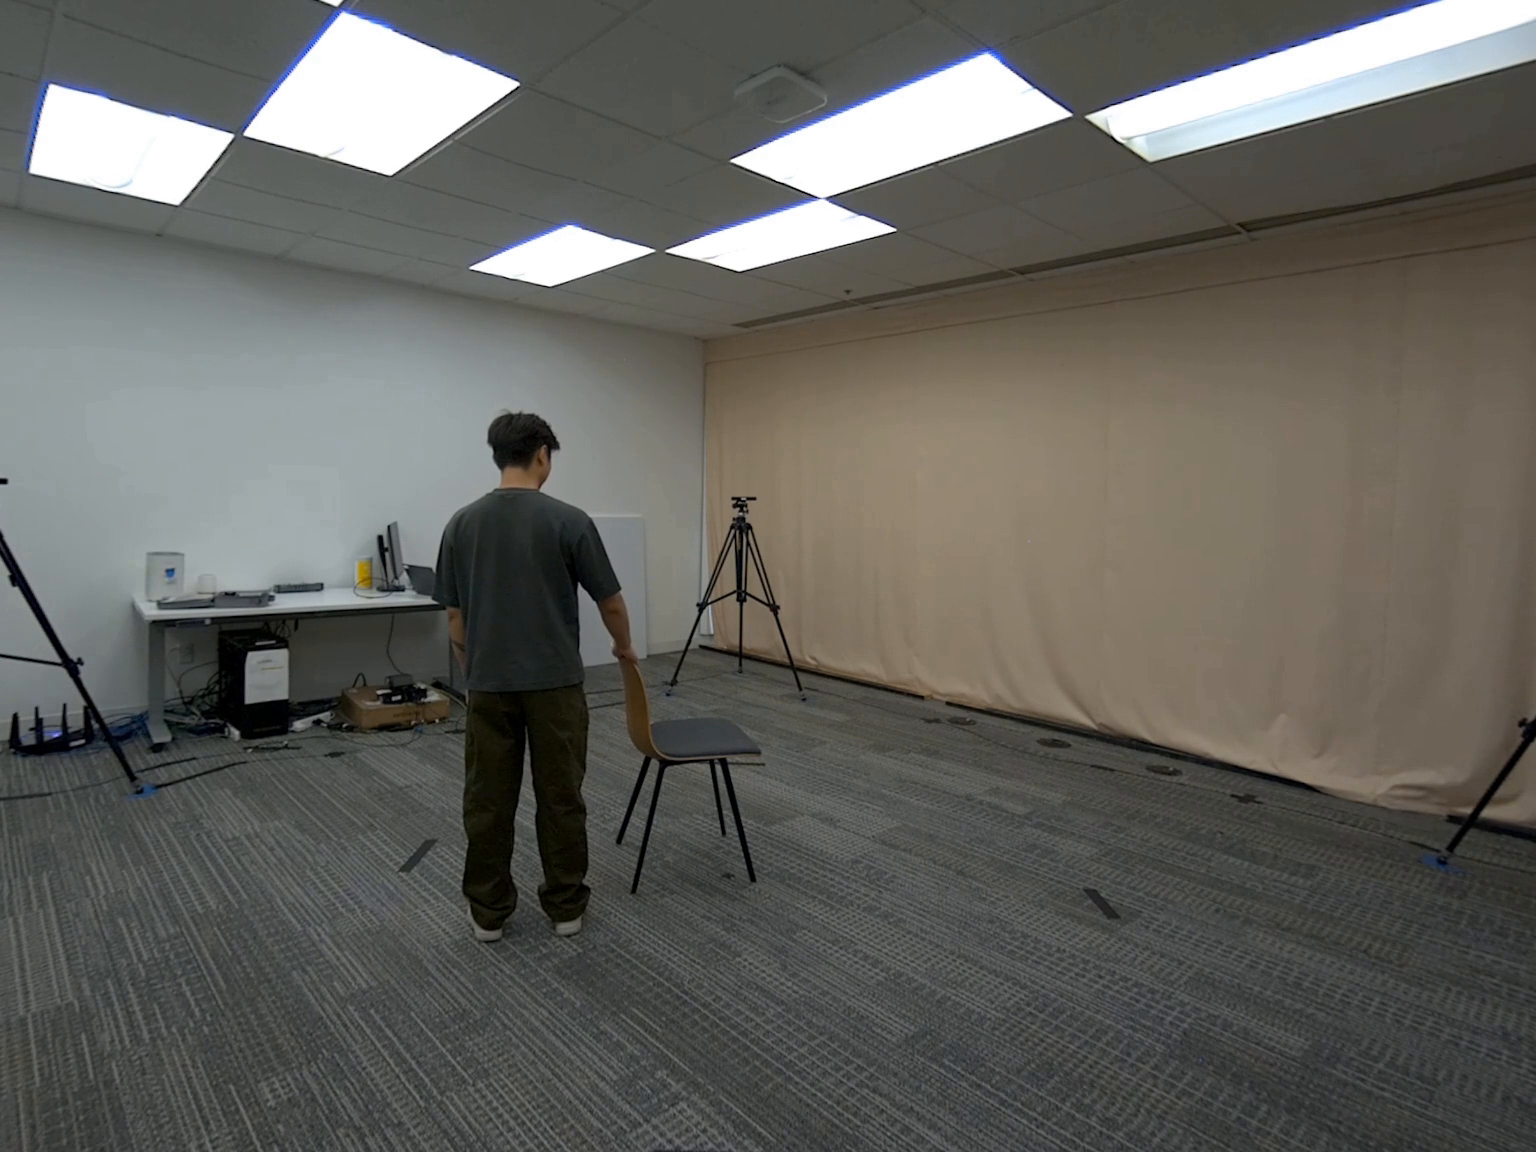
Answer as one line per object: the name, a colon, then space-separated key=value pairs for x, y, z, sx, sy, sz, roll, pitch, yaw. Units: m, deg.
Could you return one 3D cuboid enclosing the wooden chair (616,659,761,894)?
wooden chair: x=-0.313 y=0.668 z=3.186 sx=0.517 sy=0.875 sz=0.485 roll=-4 pitch=4 yaw=-16
